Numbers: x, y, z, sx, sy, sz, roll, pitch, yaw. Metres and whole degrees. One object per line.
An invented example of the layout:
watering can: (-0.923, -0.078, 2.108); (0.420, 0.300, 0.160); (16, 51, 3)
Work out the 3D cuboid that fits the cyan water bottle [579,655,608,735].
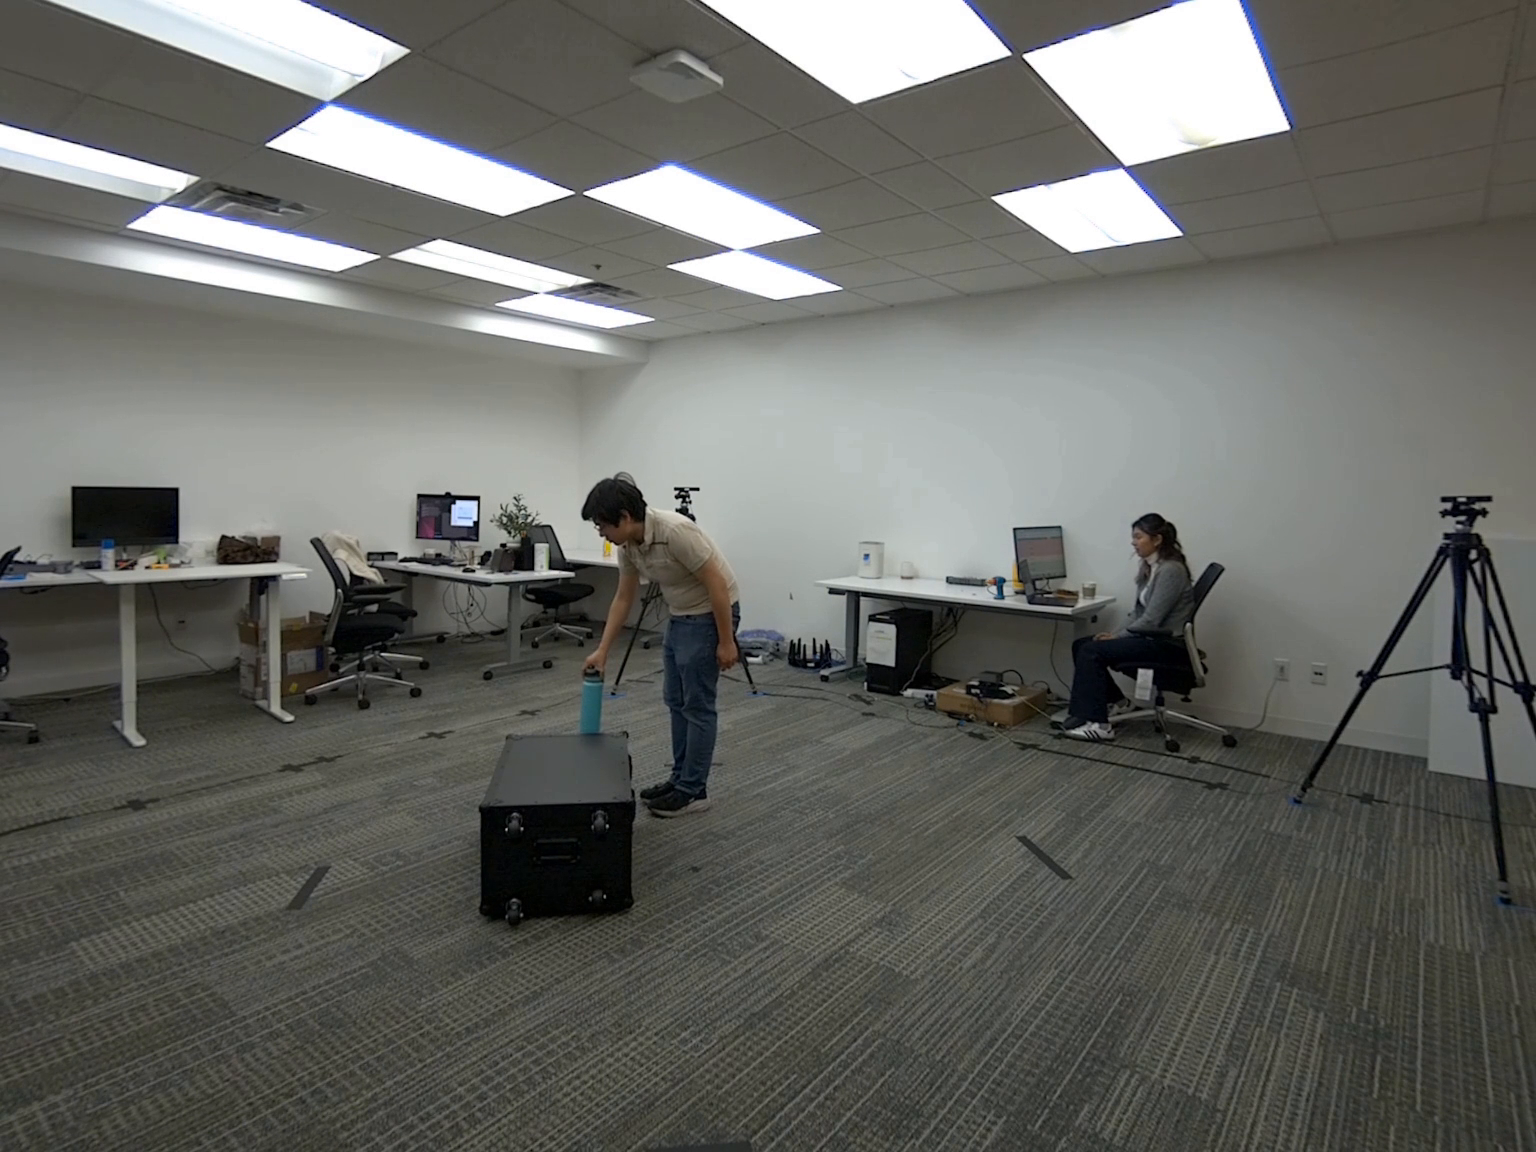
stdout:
cyan water bottle: (-0.783, 0.541, 3.730); (0.092, 0.282, 0.093); (4, 4, -2)
